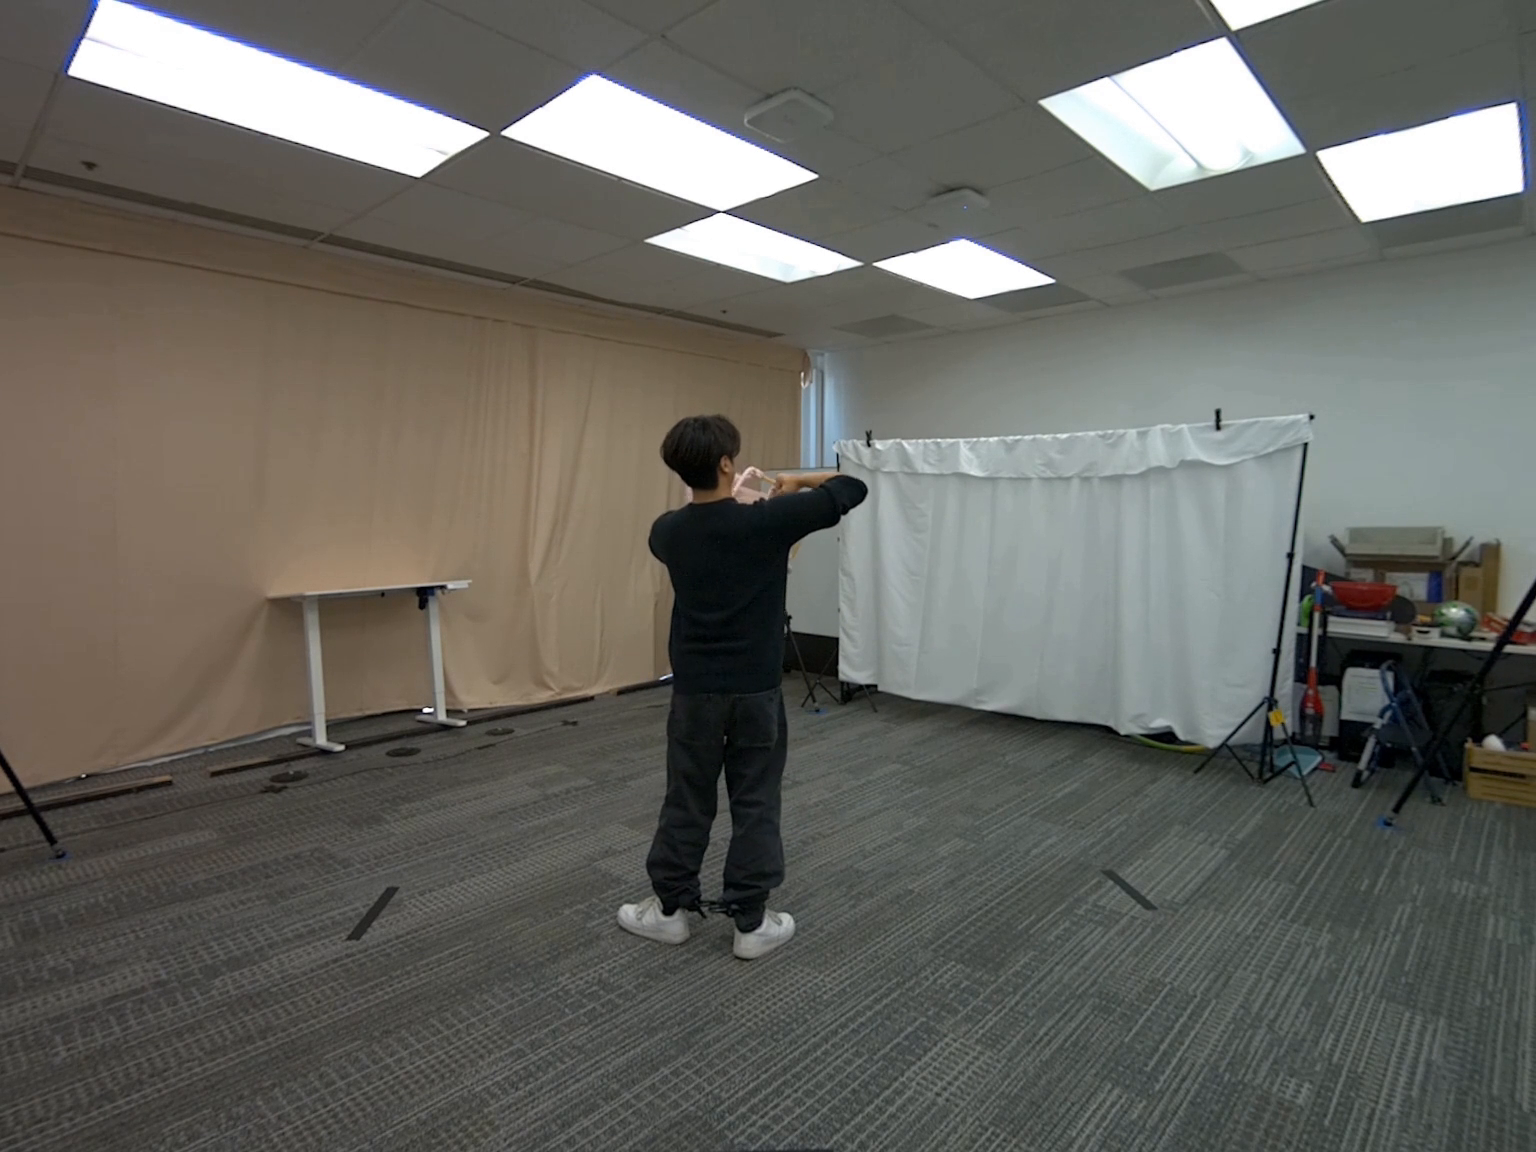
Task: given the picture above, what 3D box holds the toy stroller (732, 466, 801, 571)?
[{"bbox_3d":[-0.063,-0.239,2.968,0.553,0.281,0.330,25,-10,30],"label":"toy stroller"}]
